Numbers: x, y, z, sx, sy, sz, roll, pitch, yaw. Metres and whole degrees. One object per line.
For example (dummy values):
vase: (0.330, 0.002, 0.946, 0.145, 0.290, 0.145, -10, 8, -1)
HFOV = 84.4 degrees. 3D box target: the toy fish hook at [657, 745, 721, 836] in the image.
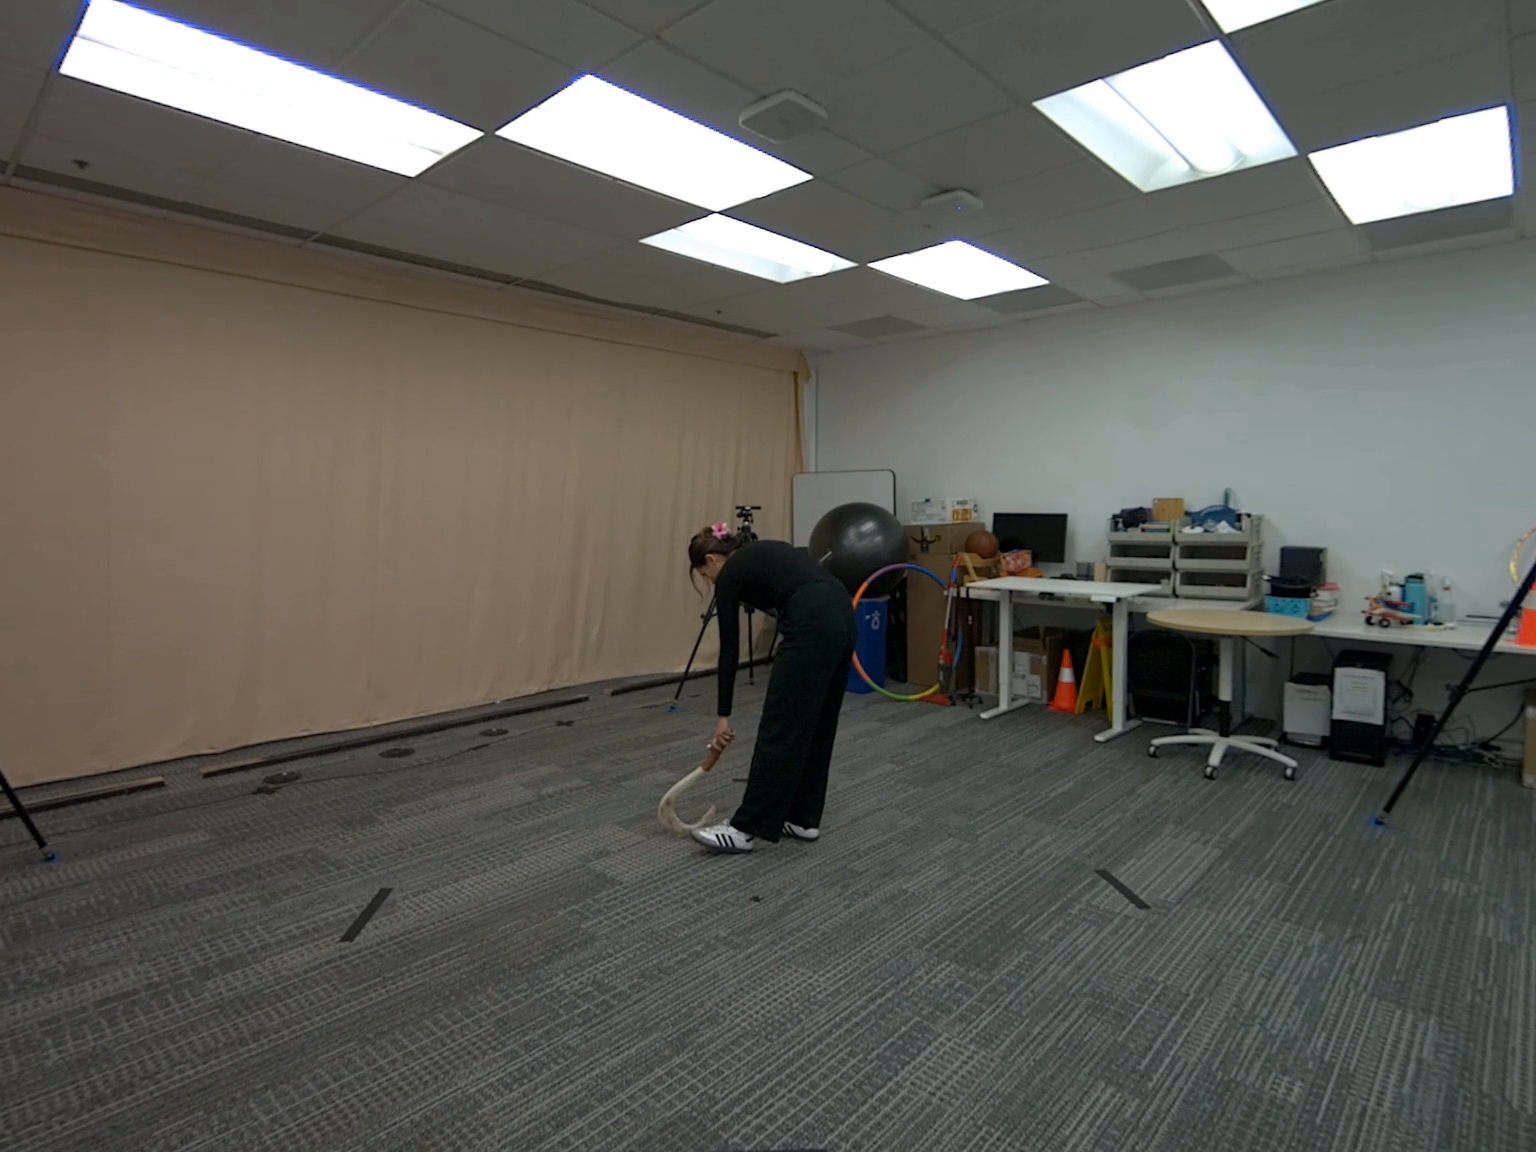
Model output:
toy fish hook: (-0.253, 0.869, 3.524, 0.222, 0.507, 0.049, 34, 6, -9)
